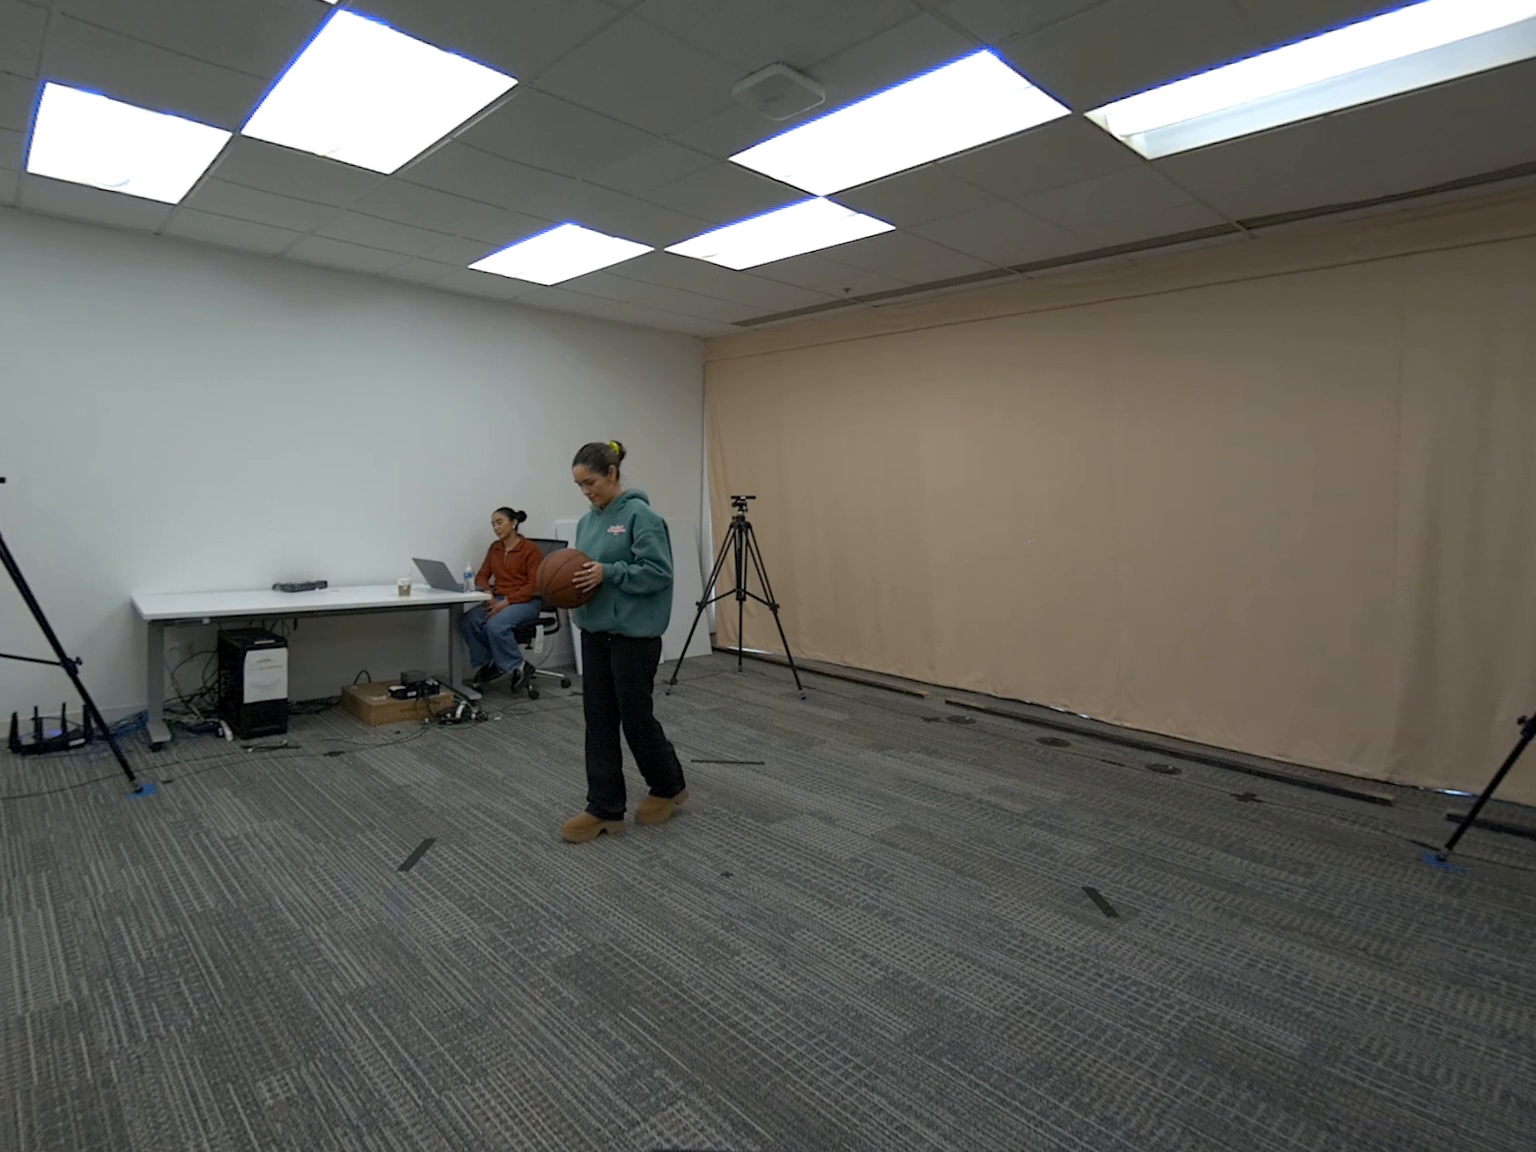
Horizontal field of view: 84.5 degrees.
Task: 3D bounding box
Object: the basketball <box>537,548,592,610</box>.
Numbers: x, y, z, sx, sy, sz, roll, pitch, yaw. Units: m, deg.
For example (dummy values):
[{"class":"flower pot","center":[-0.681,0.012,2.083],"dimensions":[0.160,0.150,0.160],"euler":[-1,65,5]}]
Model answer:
[{"class":"basketball","center":[-0.789,0.011,3.259],"dimensions":[0.236,0.235,0.237],"euler":[1,4,-1]}]
